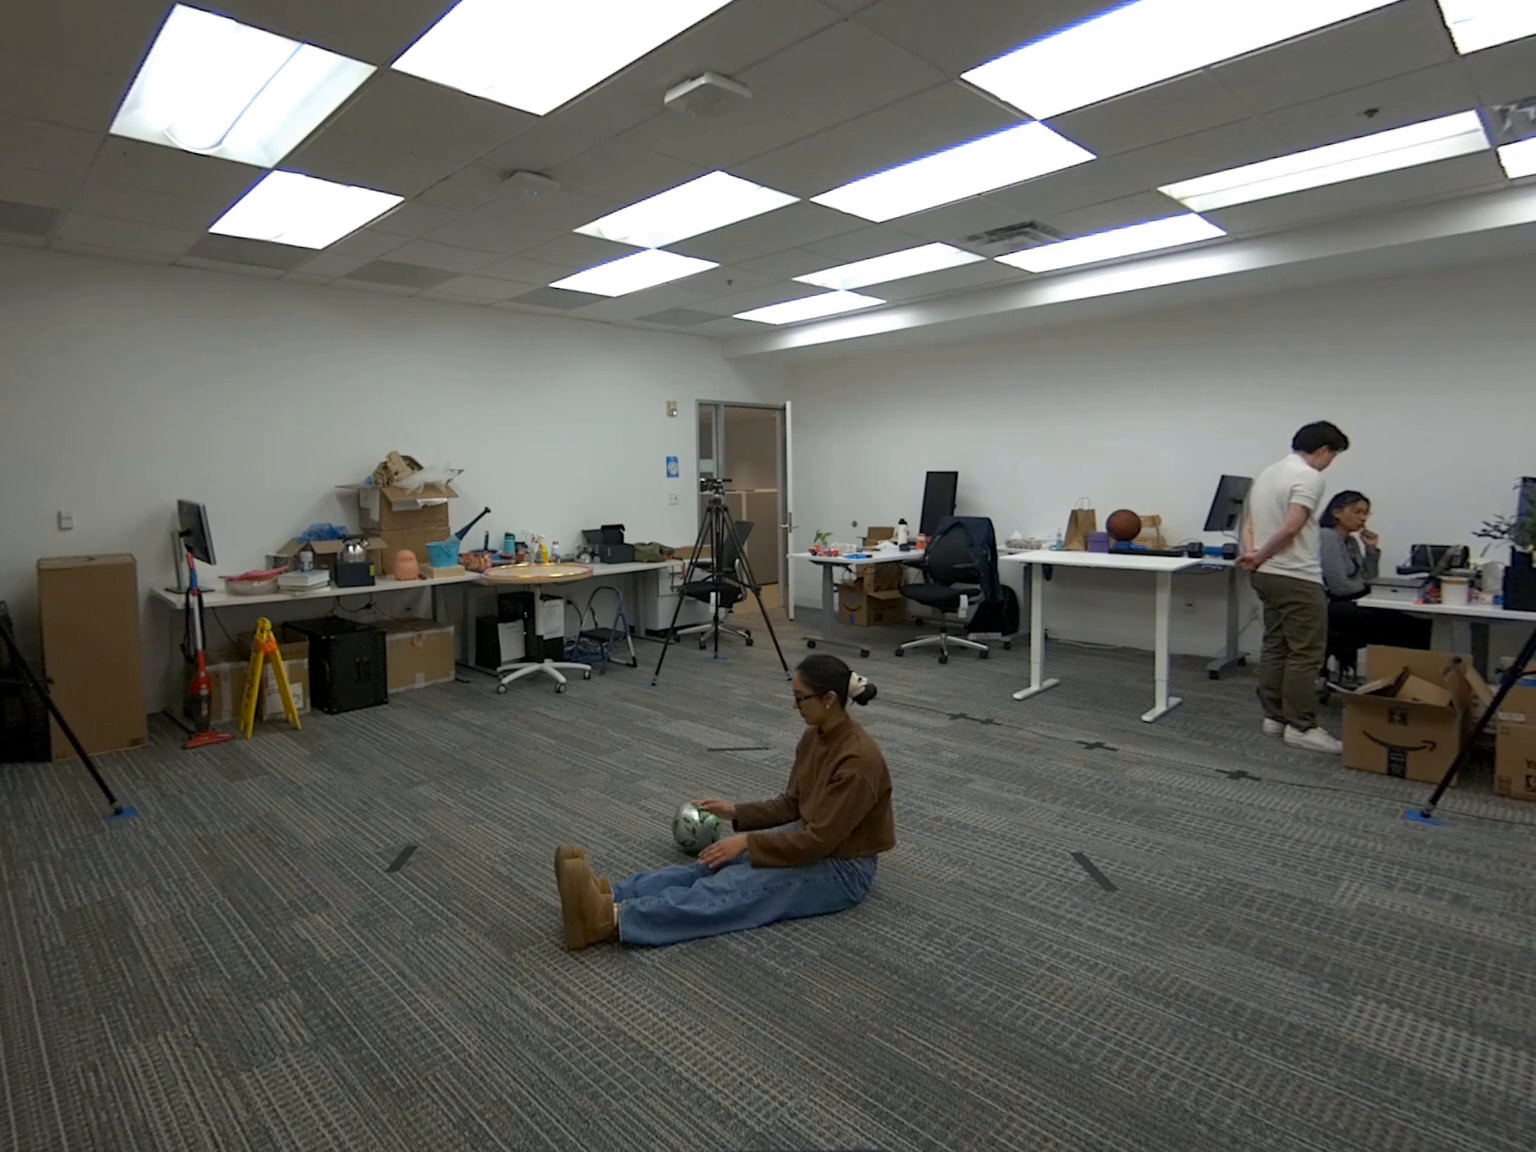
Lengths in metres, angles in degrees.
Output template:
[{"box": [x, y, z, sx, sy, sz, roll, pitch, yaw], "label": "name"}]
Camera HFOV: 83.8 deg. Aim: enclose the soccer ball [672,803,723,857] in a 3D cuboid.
[{"box": [-0.271, 0.942, 3.217, 0.187, 0.187, 0.188, -1, 5, -2], "label": "soccer ball"}]
